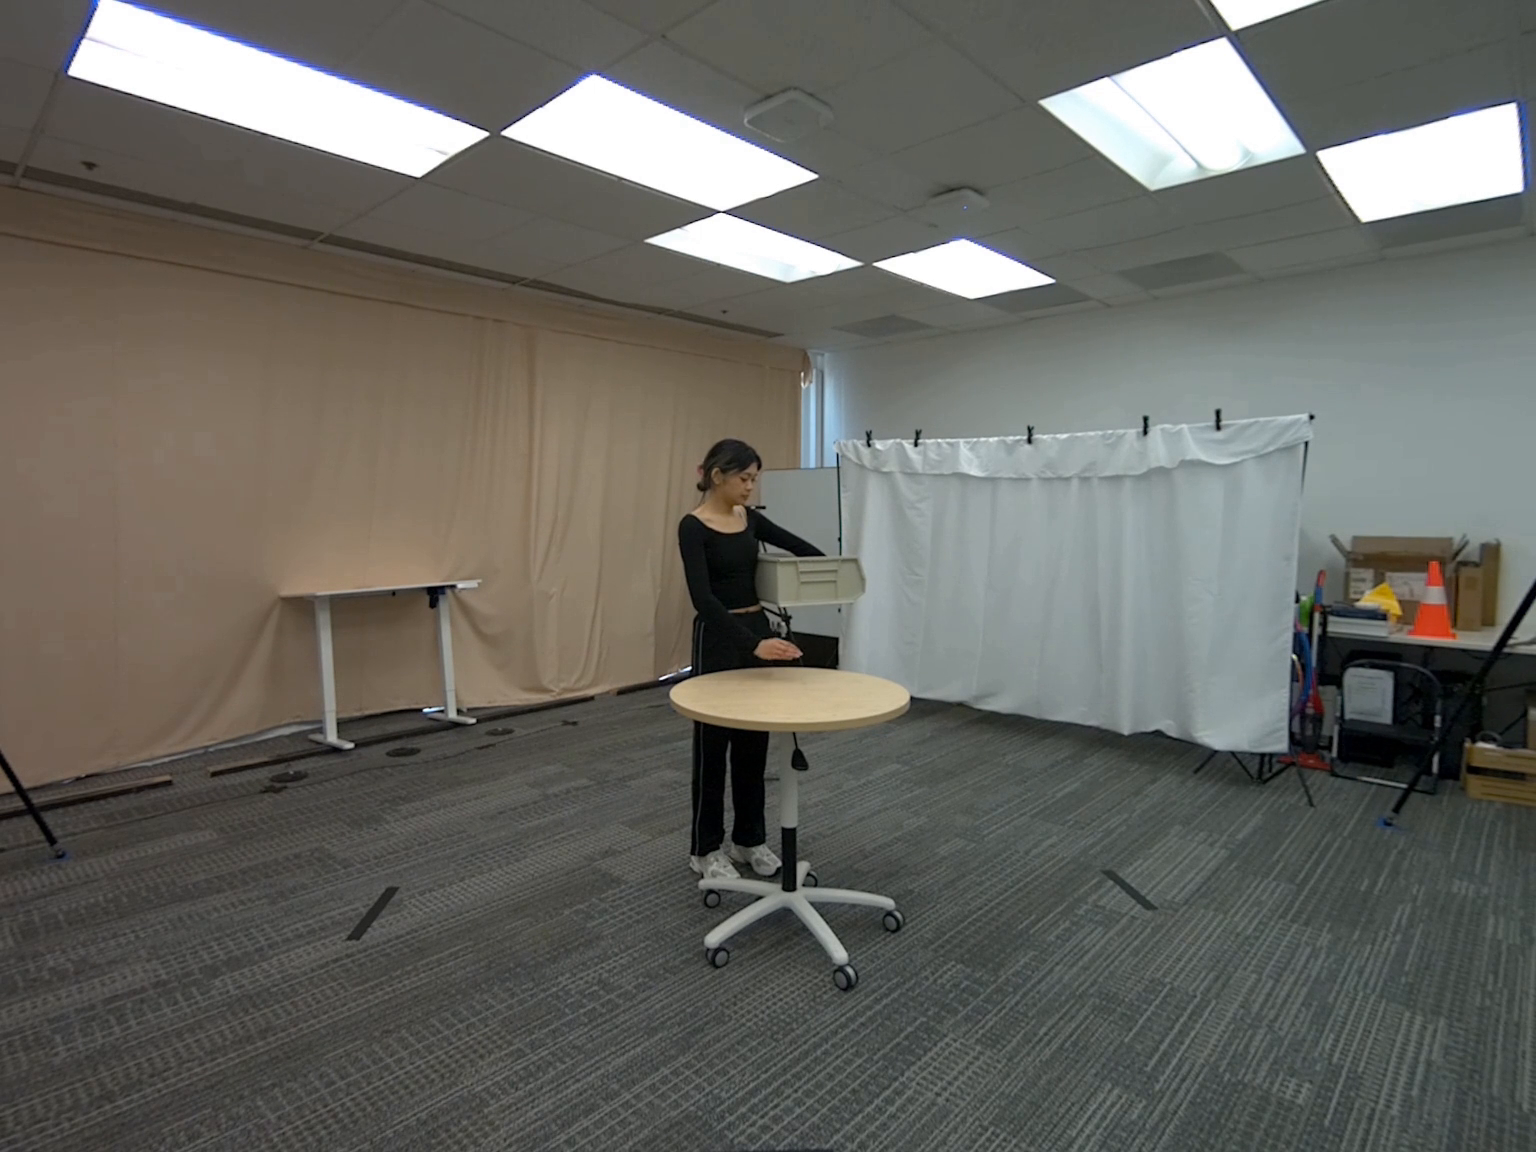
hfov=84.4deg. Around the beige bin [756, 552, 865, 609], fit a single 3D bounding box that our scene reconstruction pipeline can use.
[{"bbox_3d":[0.124,0.007,3.305,0.369,0.188,0.433,-2,4,-24],"label":"beige bin"}]
